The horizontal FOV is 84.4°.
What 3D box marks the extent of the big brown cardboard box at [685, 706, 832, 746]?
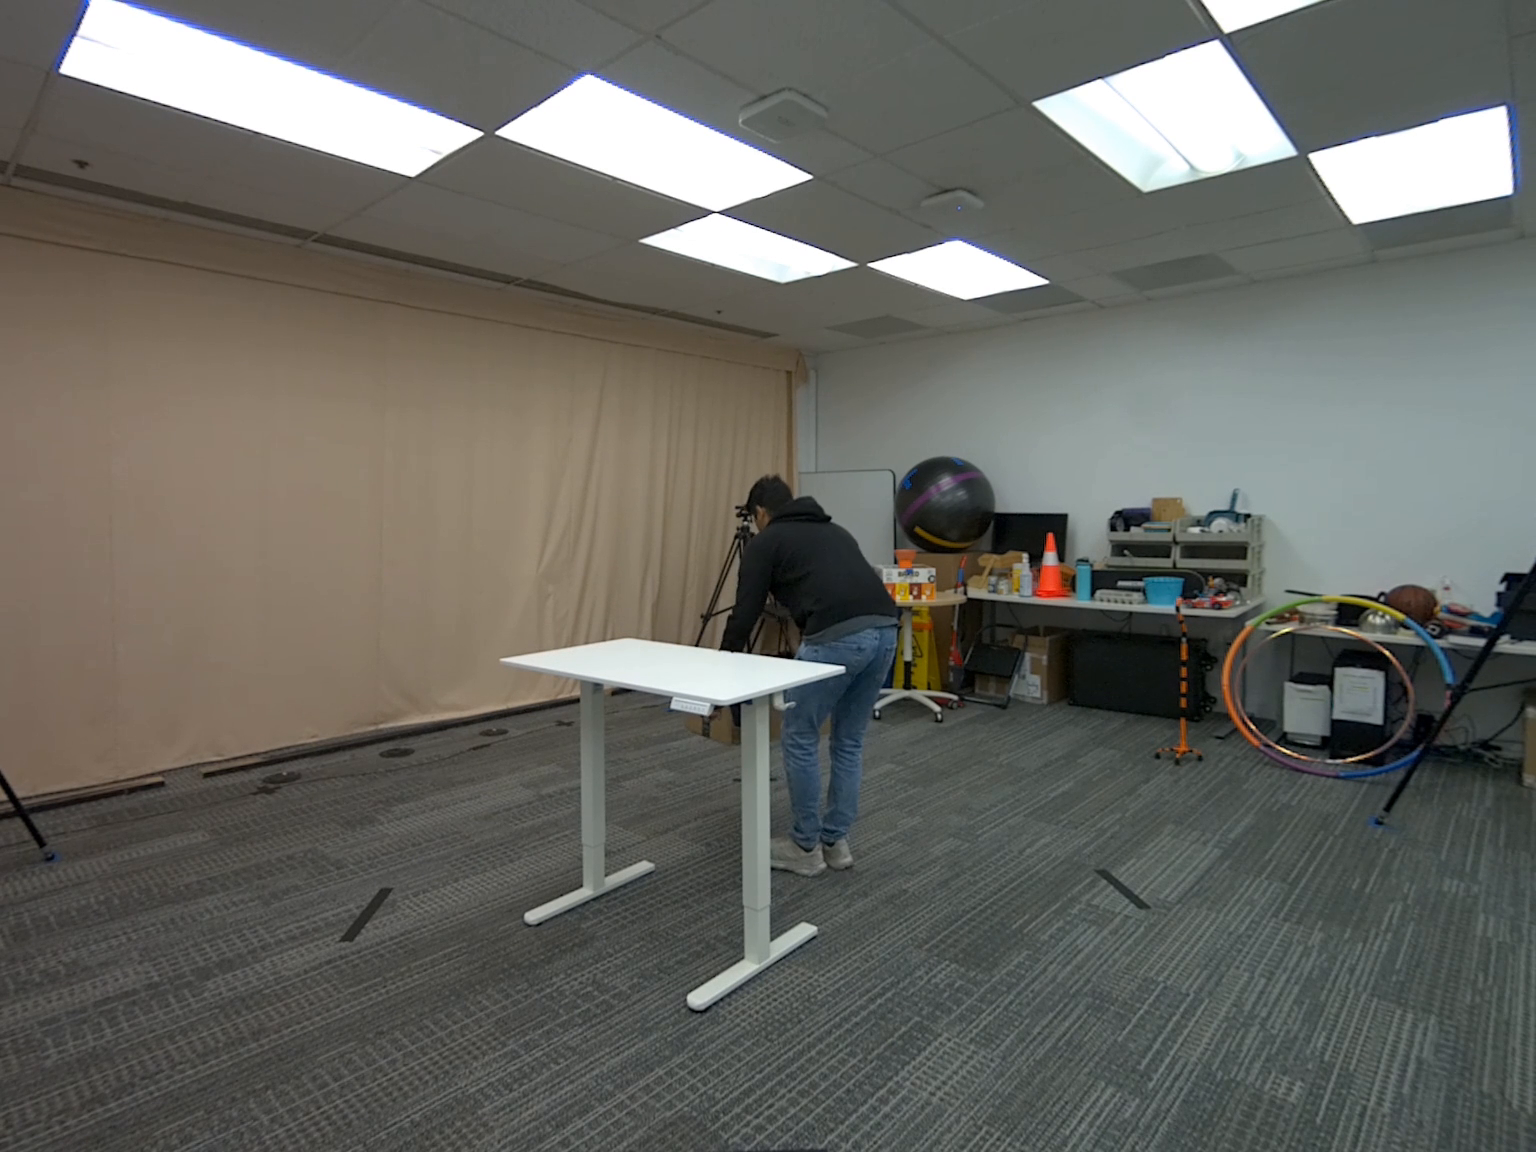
[{"bbox_3d":[-0.035,0.565,3.681,0.573,0.233,0.429,0,1,-30],"label":"big brown cardboard box"}]
